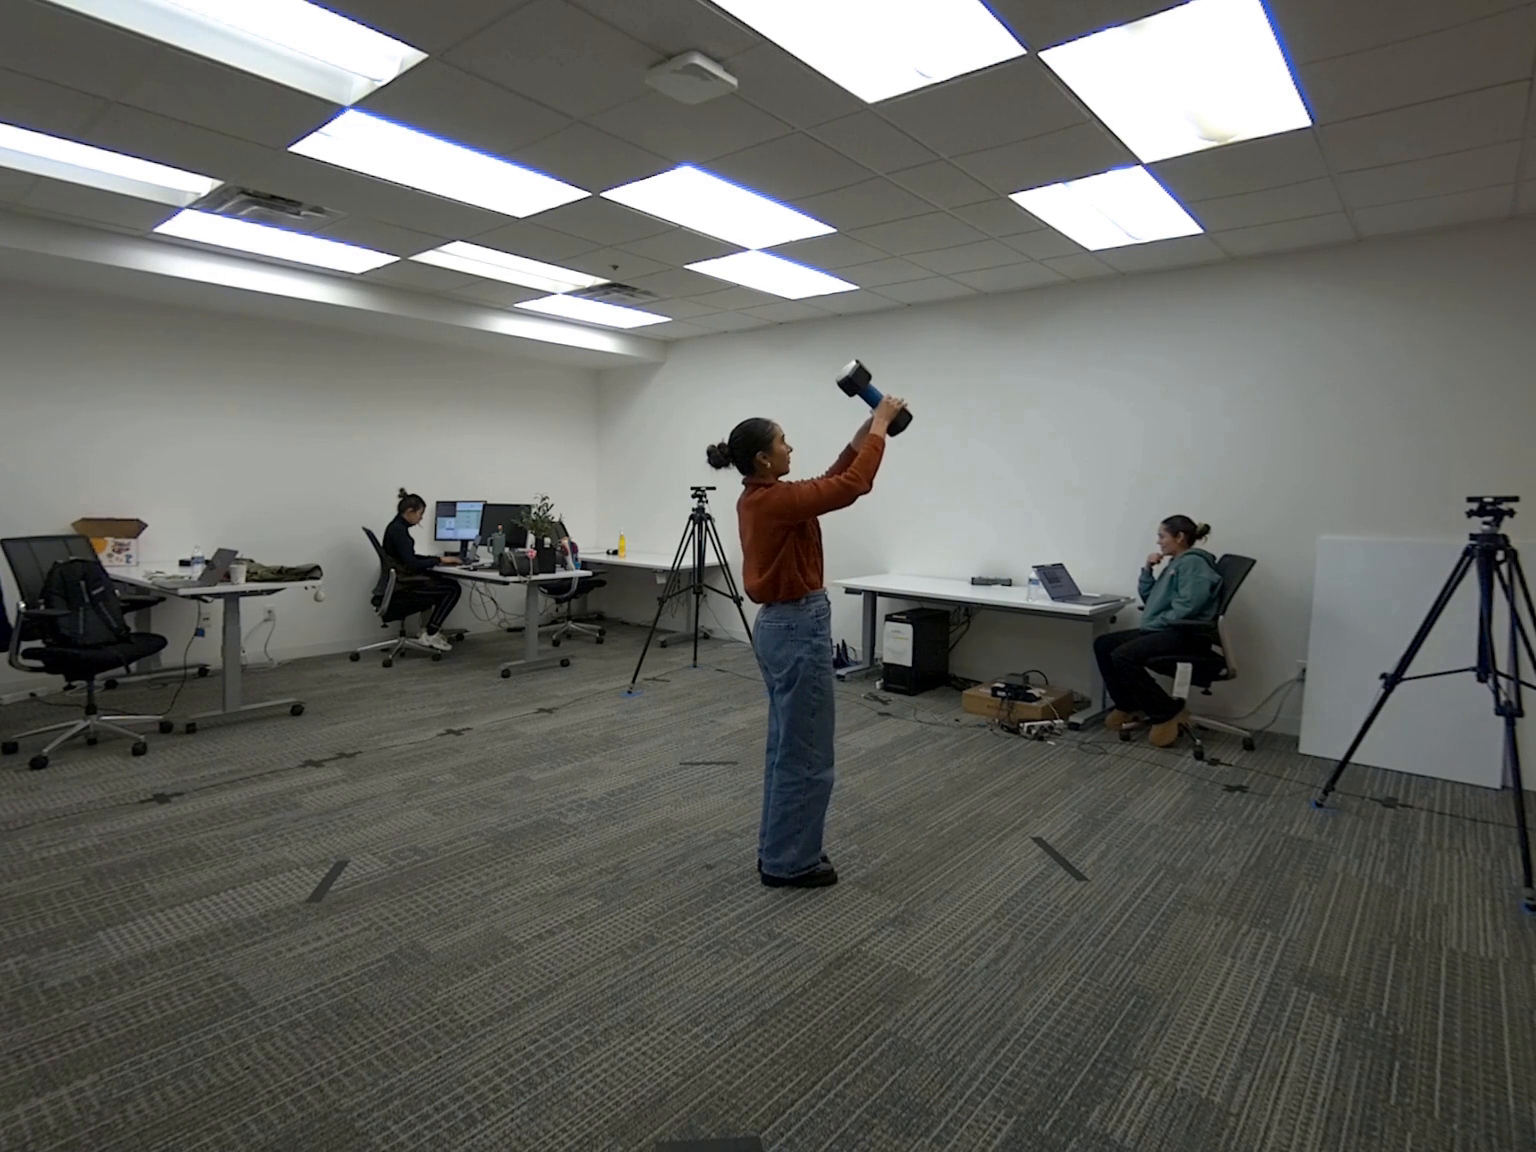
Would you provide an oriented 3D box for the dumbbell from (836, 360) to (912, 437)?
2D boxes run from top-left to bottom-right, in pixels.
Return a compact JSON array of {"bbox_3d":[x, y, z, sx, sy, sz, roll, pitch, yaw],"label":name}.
[{"bbox_3d":[0.360,-0.621,2.981,0.287,0.123,0.111,41,-8,-16],"label":"dumbbell"}]
